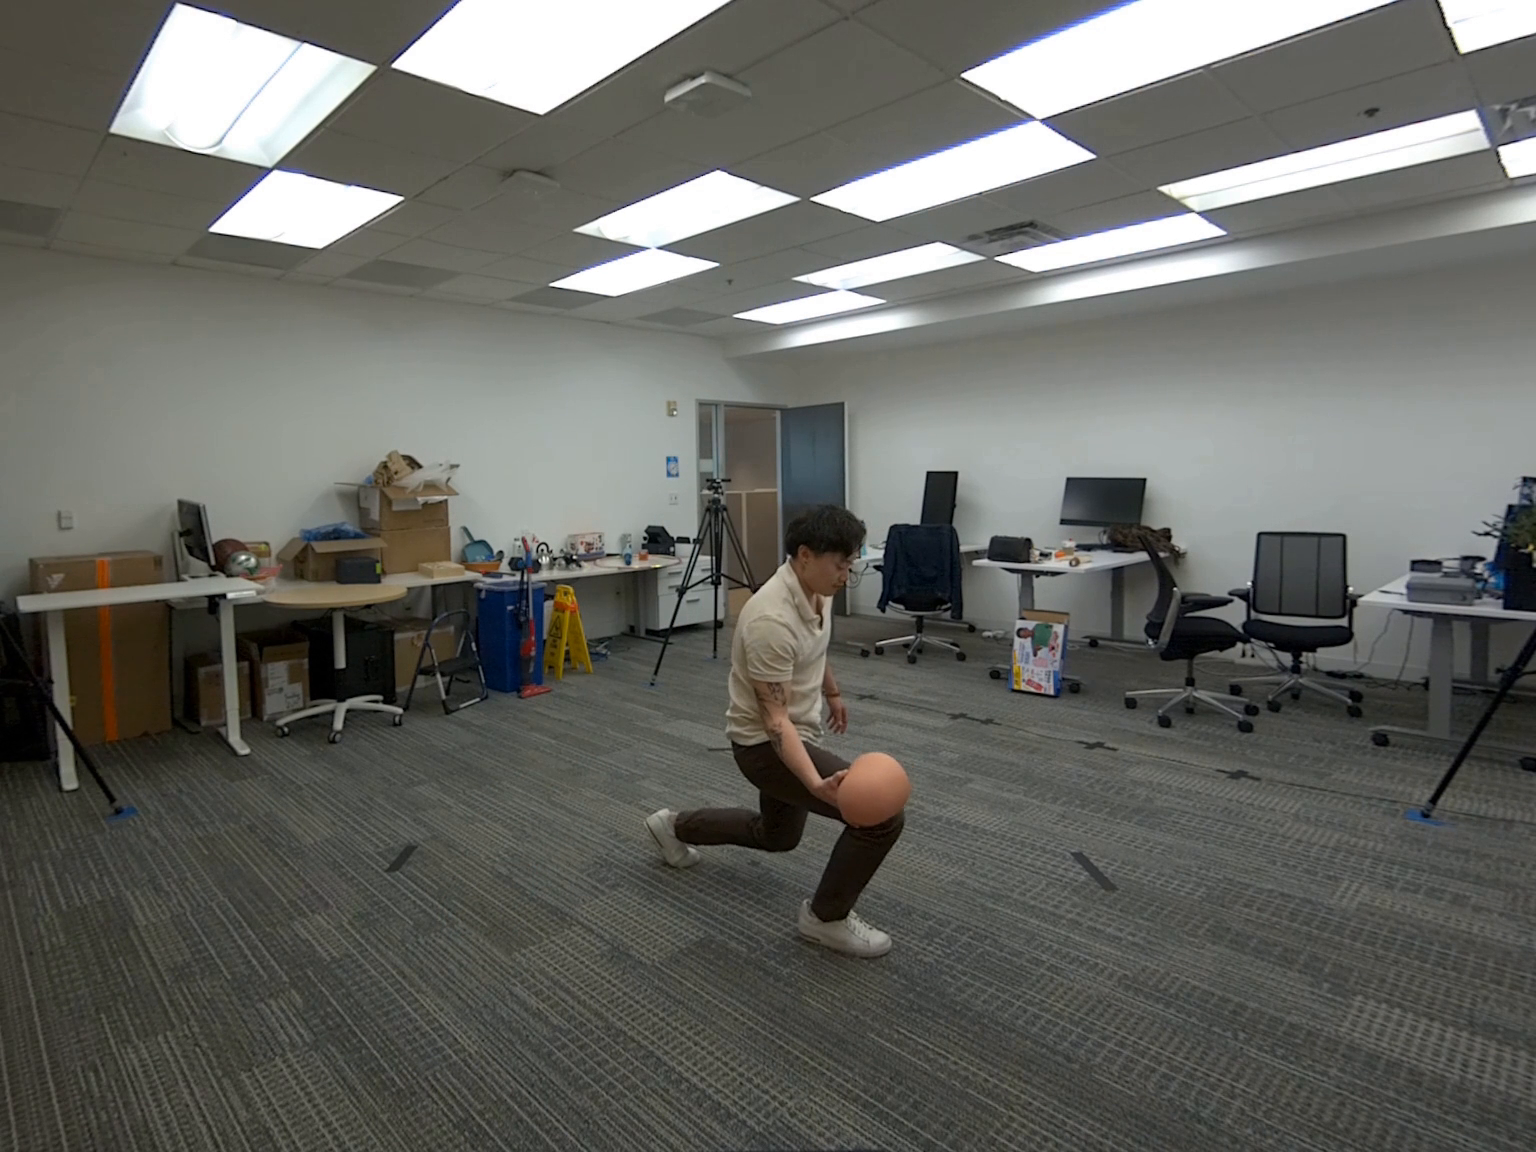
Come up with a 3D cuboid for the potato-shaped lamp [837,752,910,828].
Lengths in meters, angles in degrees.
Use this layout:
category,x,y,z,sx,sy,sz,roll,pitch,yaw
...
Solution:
category,x,y,z,sx,sy,sz,roll,pitch,yaw
potato-shaped lamp,0.265,0.554,2.197,0.173,0.166,0.195,-31,-4,42
